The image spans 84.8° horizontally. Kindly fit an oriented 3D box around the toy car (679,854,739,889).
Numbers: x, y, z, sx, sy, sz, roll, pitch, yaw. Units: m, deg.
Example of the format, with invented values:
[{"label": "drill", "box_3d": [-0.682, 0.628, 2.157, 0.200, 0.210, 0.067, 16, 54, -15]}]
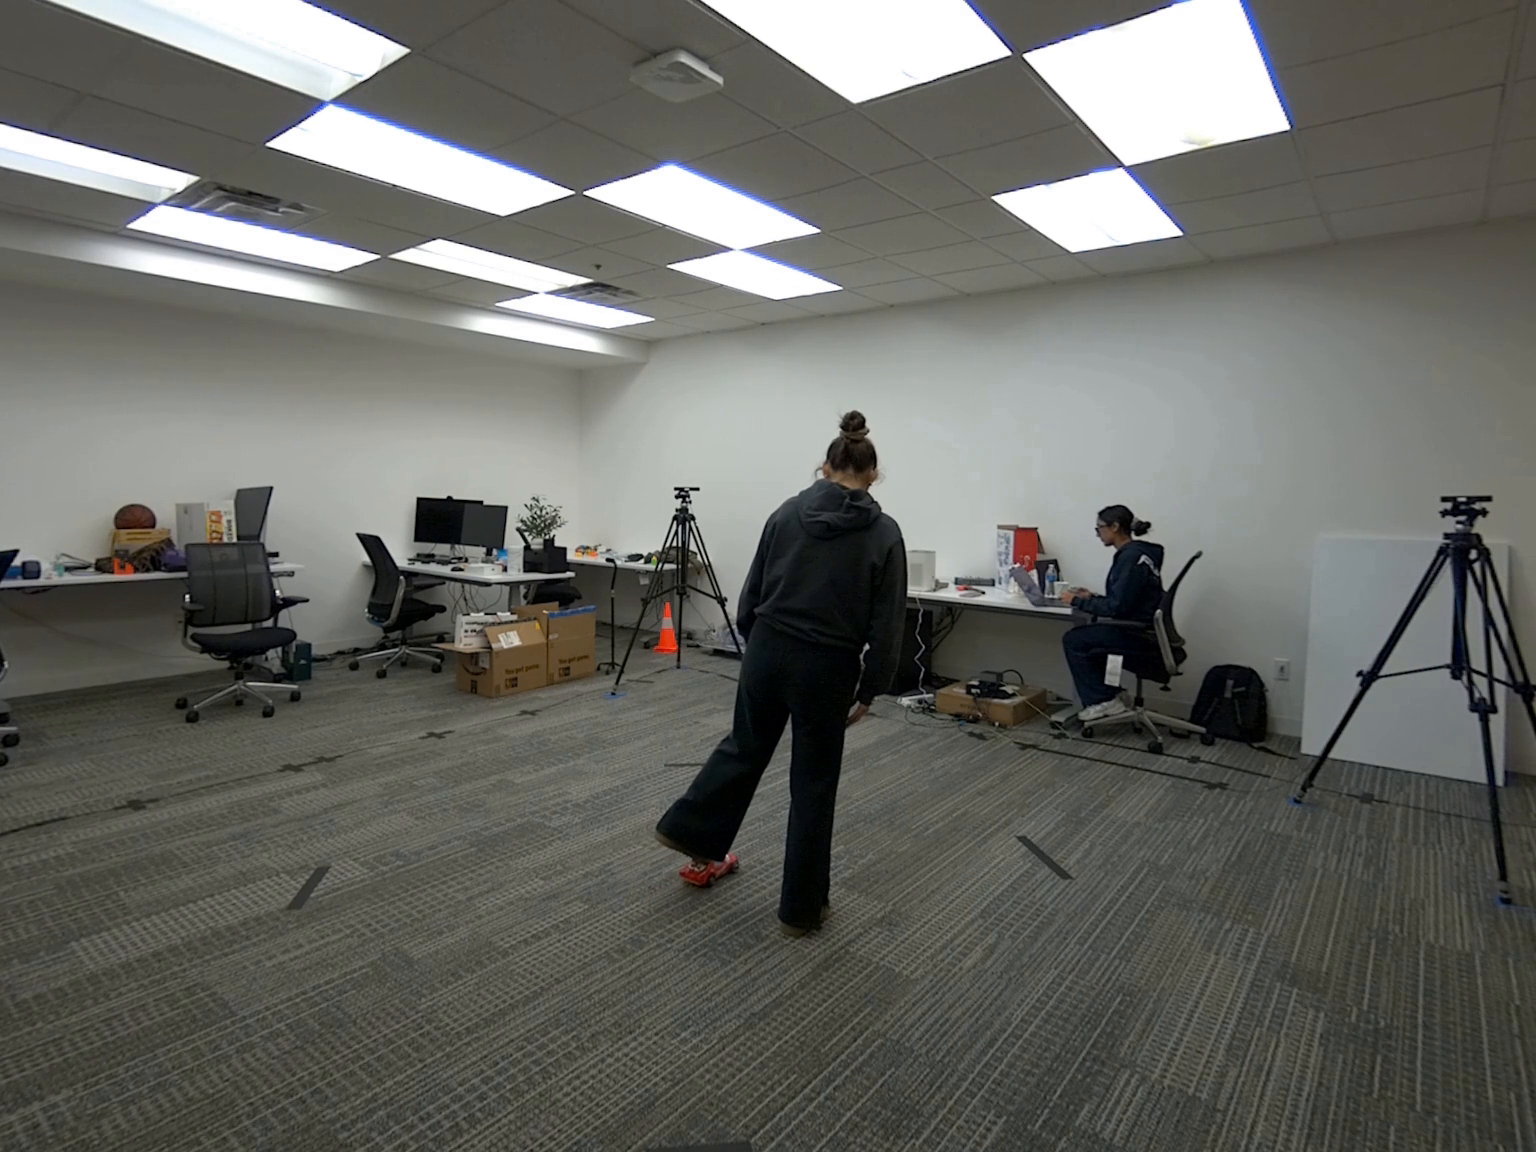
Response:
[{"label": "toy car", "box_3d": [-0.214, 1.040, 3.036, 0.134, 0.083, 0.245, 6, -3, 36]}]
